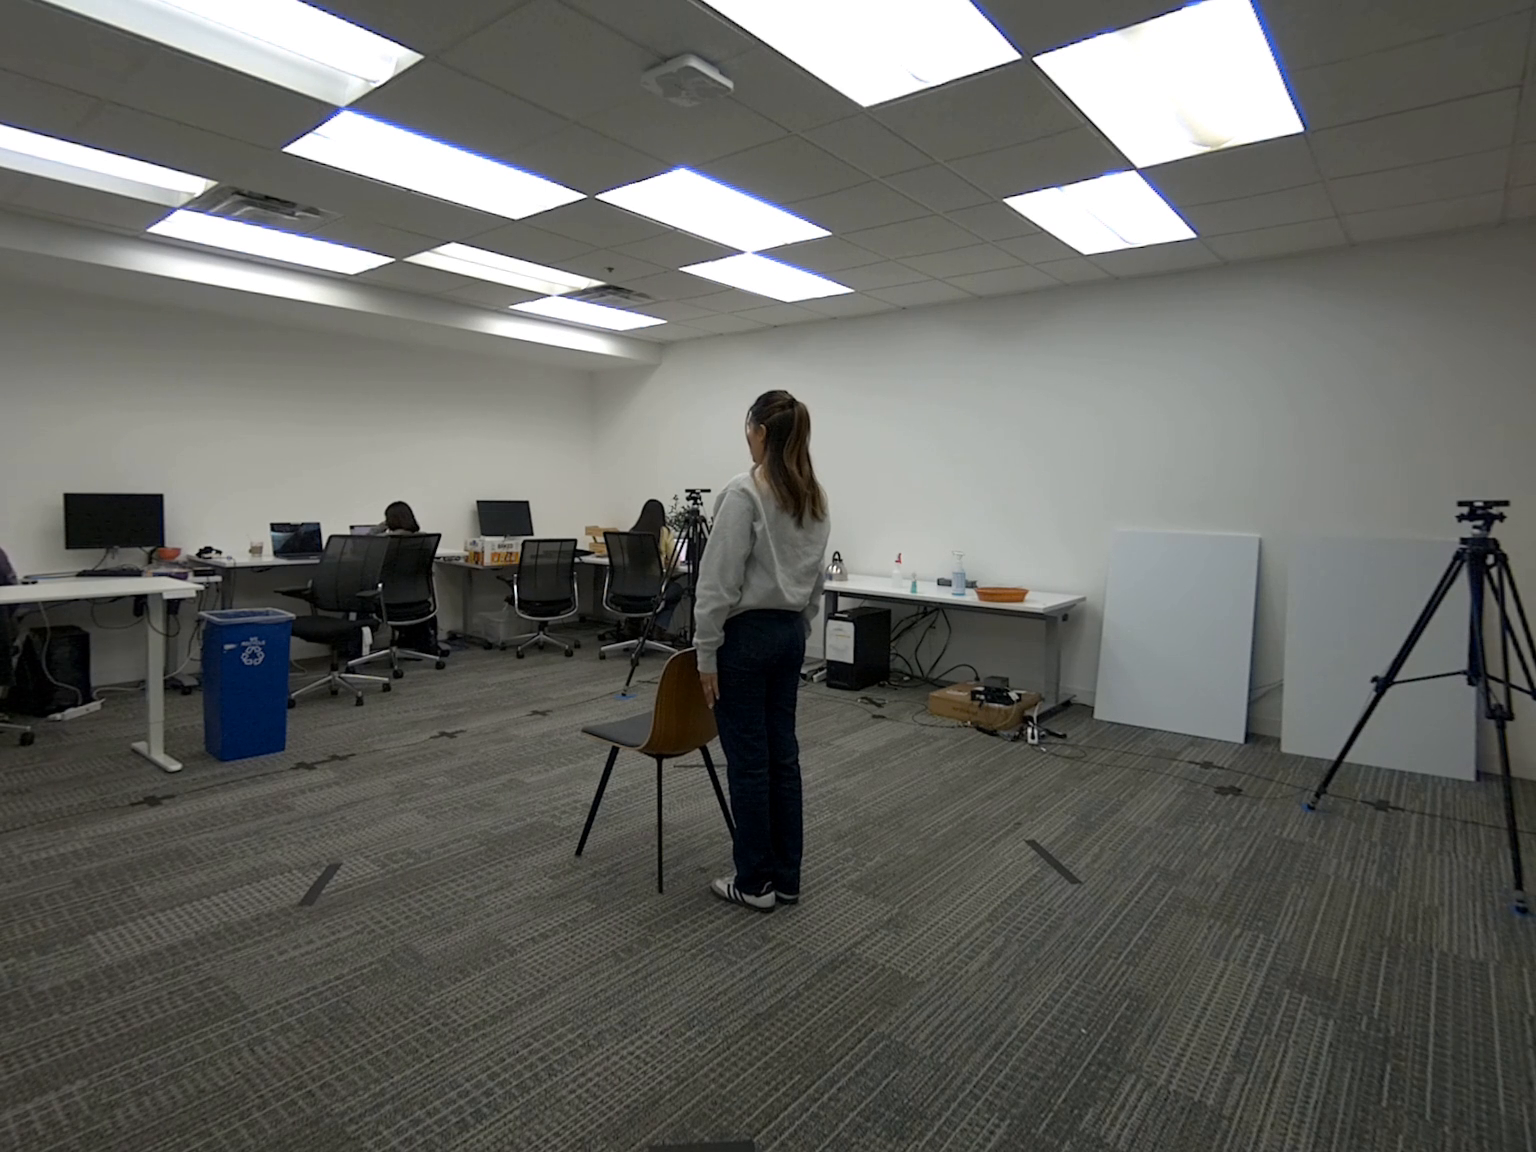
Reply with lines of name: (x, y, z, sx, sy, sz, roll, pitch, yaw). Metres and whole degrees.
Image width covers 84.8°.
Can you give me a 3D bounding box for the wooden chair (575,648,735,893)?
wooden chair: (-0.424, 0.635, 3.211, 0.542, 0.873, 0.464, 9, 7, 38)
